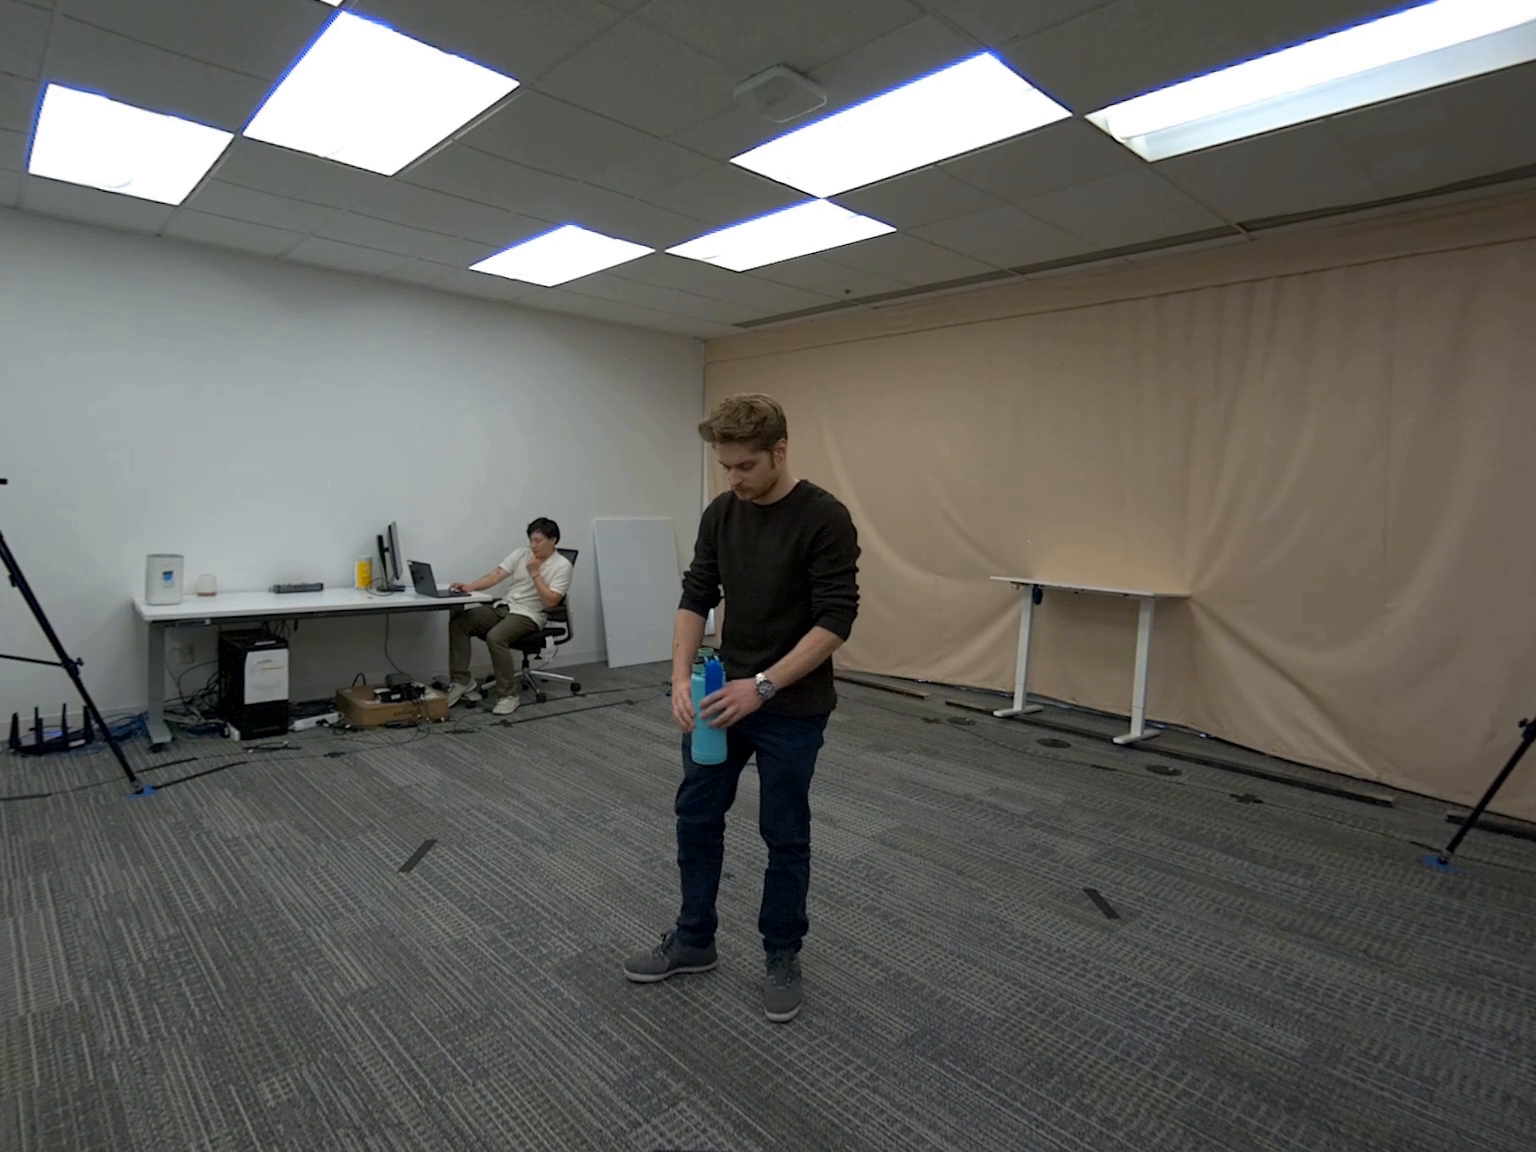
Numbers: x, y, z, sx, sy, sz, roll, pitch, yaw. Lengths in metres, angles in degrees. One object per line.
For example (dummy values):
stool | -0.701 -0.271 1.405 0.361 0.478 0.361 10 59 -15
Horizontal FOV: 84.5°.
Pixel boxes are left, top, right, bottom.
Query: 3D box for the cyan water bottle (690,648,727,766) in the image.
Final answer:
cyan water bottle | -0.156 0.336 2.147 0.092 0.282 0.093 2 8 -2
